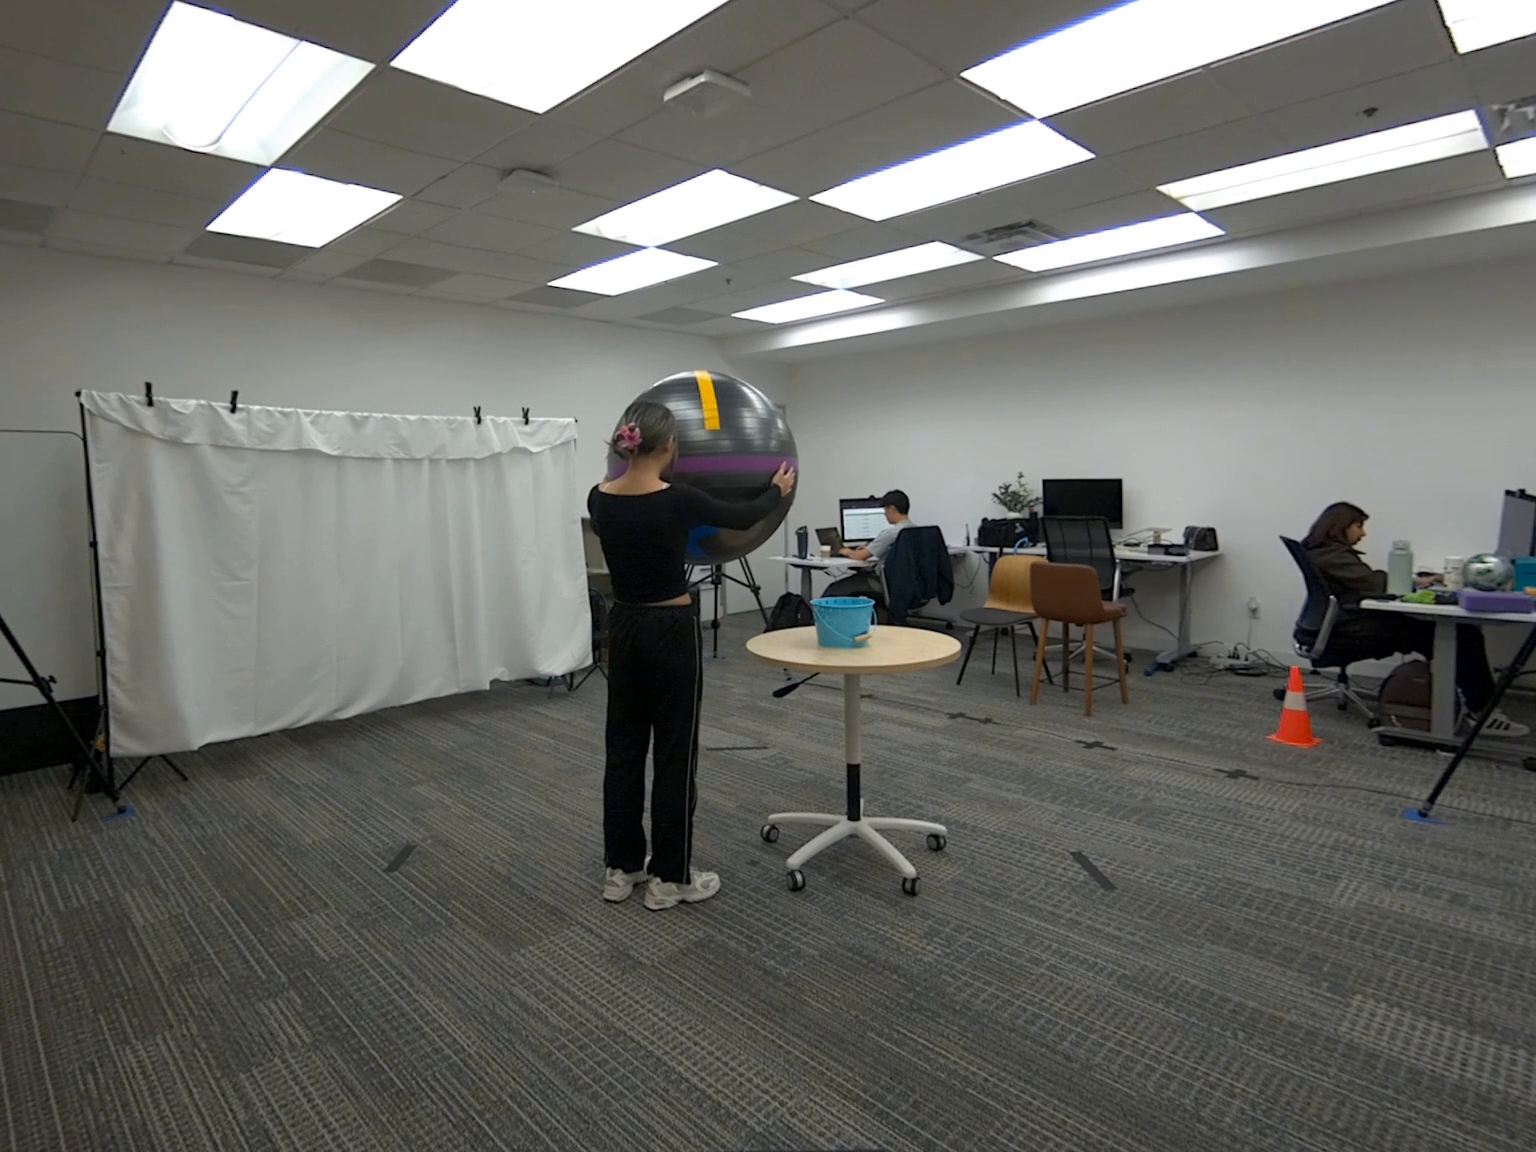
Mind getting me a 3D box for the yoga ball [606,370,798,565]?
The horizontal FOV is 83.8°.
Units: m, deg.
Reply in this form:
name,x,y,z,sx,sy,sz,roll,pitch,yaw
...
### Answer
name,x,y,z,sx,sy,sz,roll,pitch,yaw
yoga ball,-0.253,-0.419,3.383,0.757,0.755,0.762,-1,5,-2
